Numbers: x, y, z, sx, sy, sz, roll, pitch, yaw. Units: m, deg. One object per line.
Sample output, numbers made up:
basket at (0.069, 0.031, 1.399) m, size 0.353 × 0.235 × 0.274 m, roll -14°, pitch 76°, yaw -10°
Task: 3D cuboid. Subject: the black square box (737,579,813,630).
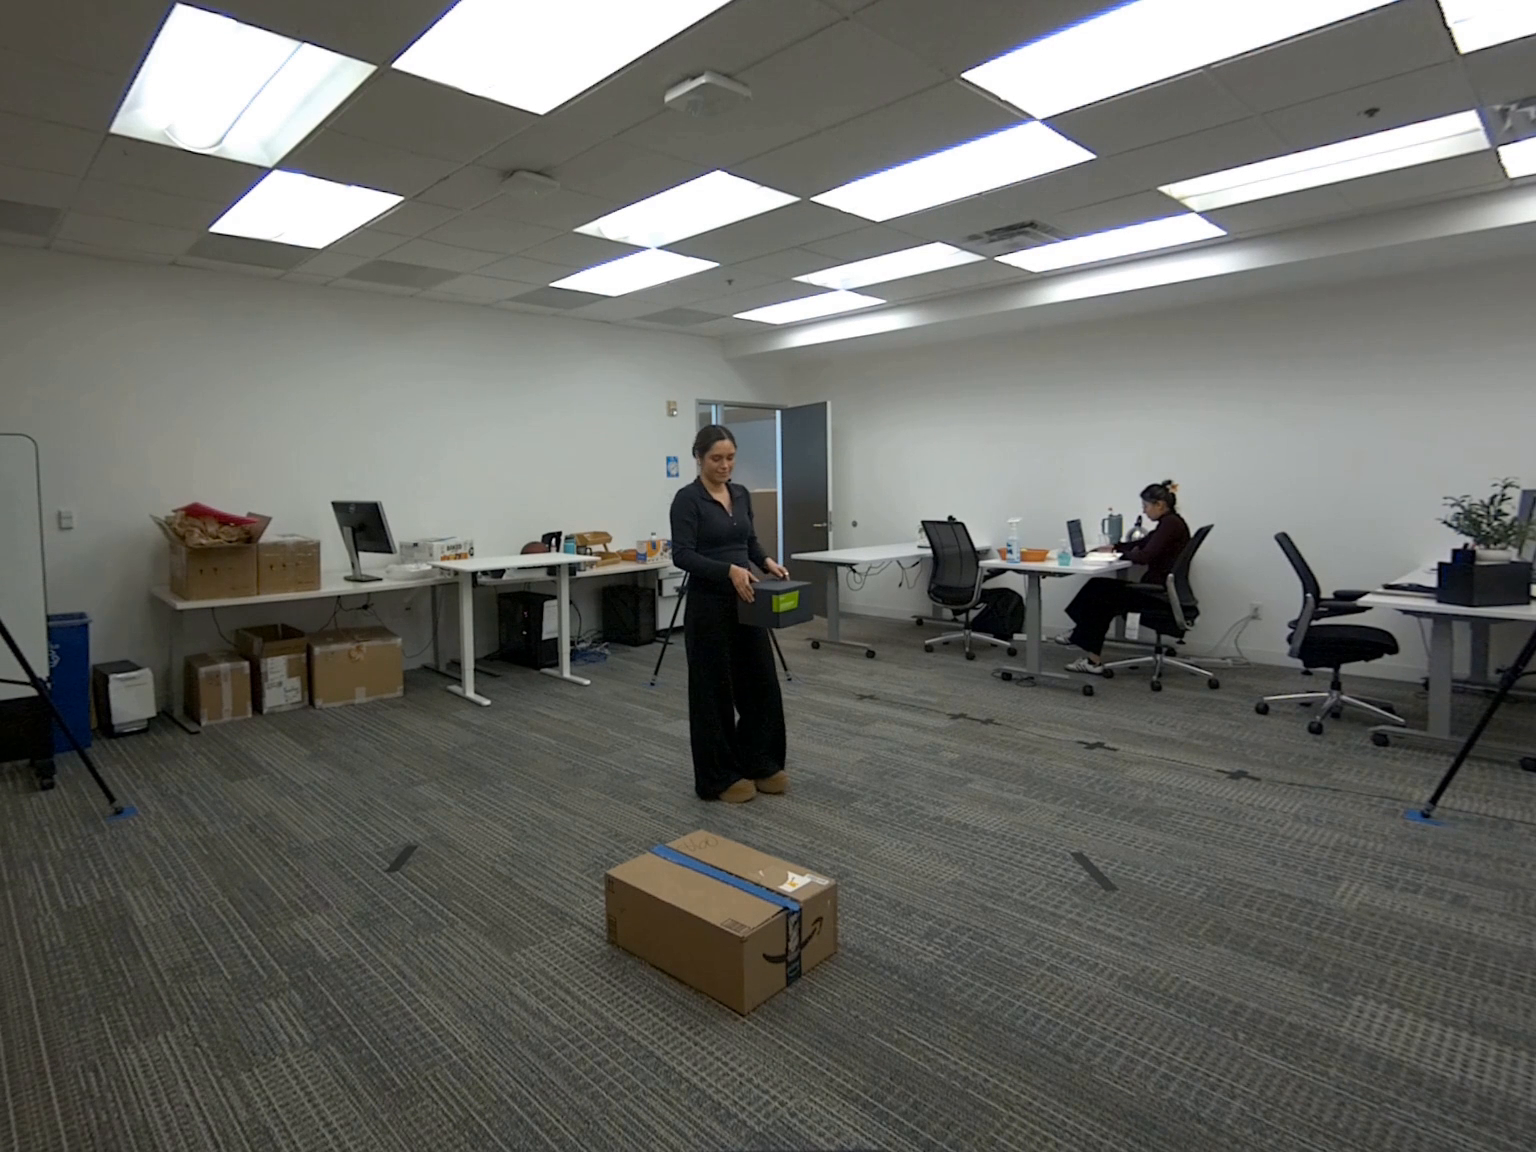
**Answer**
black square box at (0.035, 0.110, 3.458) m, size 0.223 × 0.155 × 0.222 m, roll 4°, pitch 9°, yaw 42°
